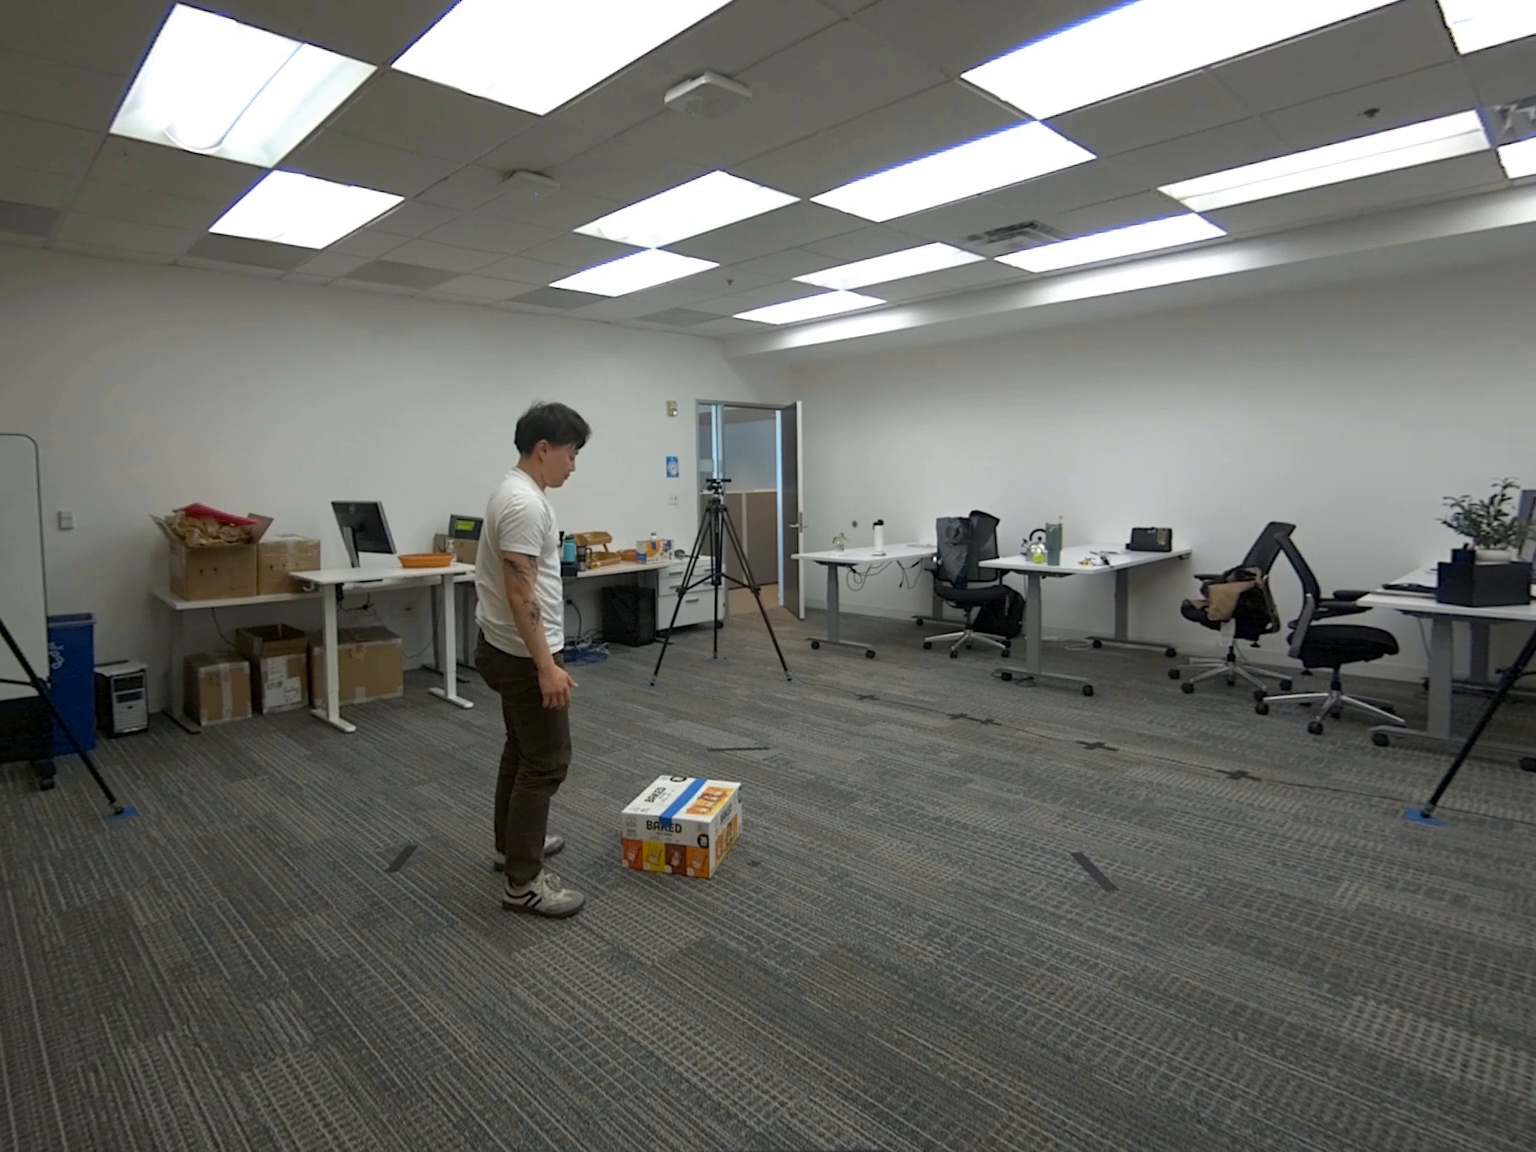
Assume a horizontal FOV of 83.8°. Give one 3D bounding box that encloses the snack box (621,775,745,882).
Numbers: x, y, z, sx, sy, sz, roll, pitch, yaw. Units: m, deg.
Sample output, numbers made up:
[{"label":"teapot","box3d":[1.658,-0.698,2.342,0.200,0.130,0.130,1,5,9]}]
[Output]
[{"label":"snack box","box3d":[-0.311,0.933,3.224,0.346,0.205,0.400,1,6,16]}]
